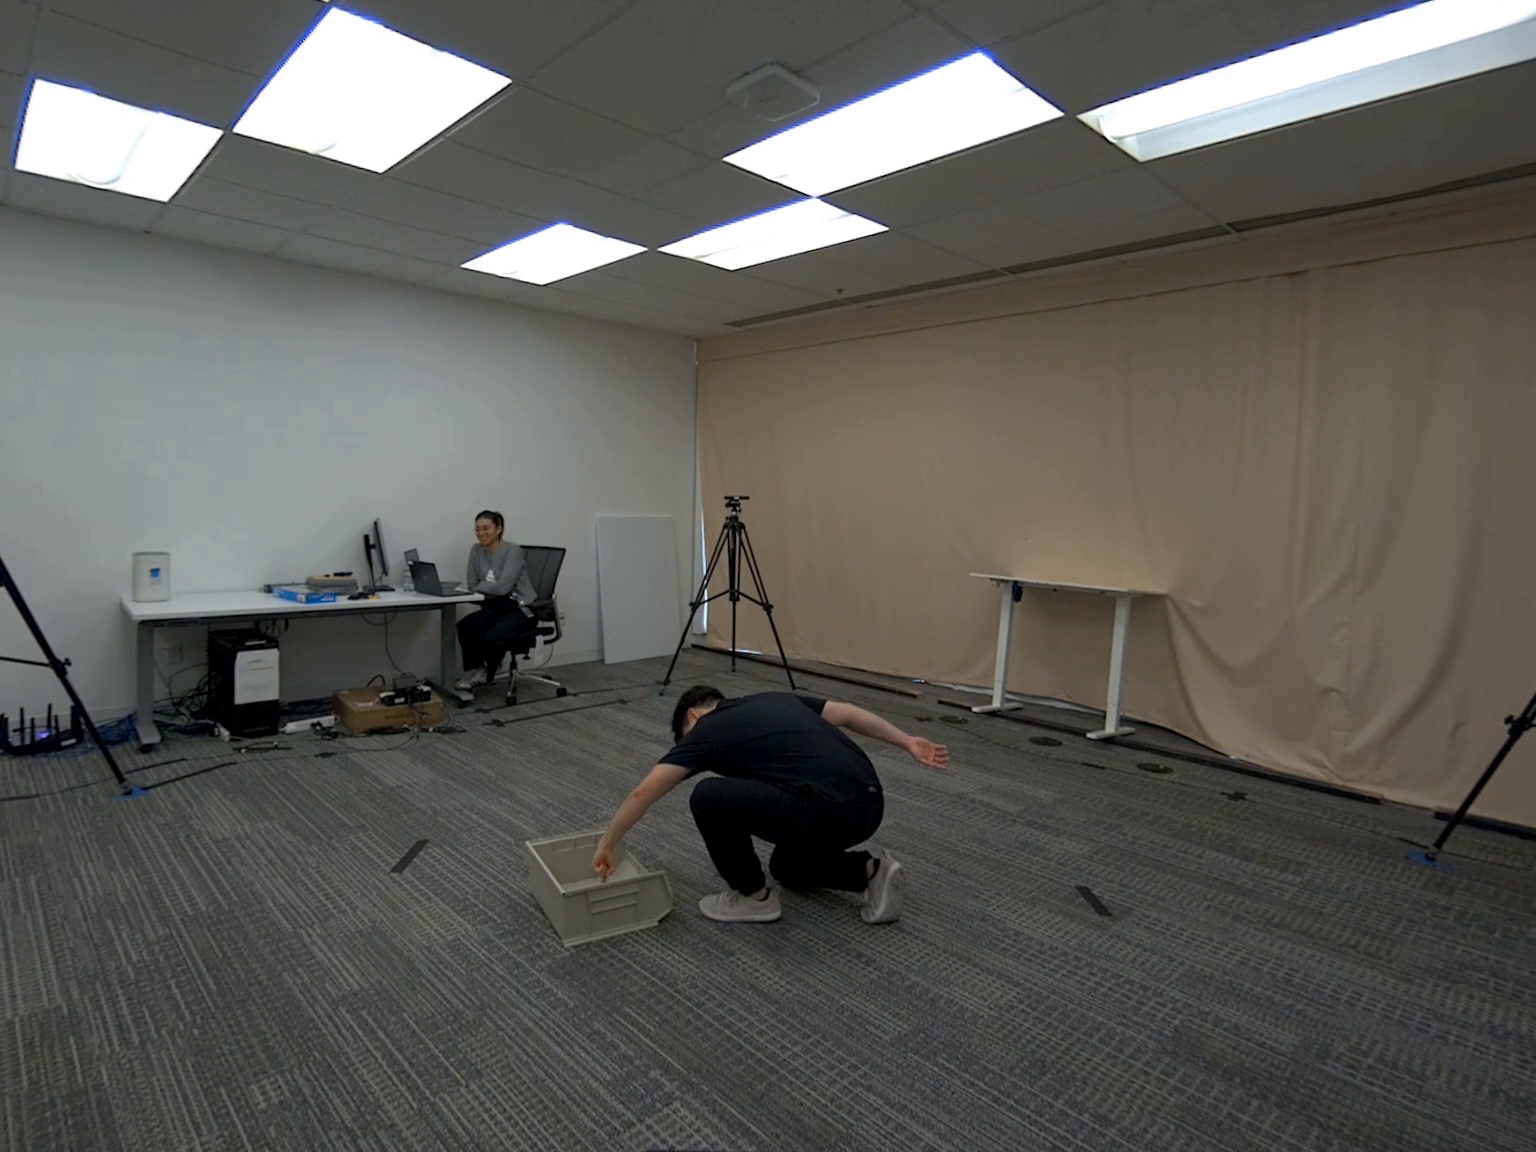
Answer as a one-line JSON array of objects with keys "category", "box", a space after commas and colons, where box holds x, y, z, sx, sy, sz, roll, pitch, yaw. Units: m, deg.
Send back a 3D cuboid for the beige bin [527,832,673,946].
[{"category": "beige bin", "box": [-0.575, 1.022, 2.840, 0.370, 0.188, 0.432, -3, 7, -30]}]
